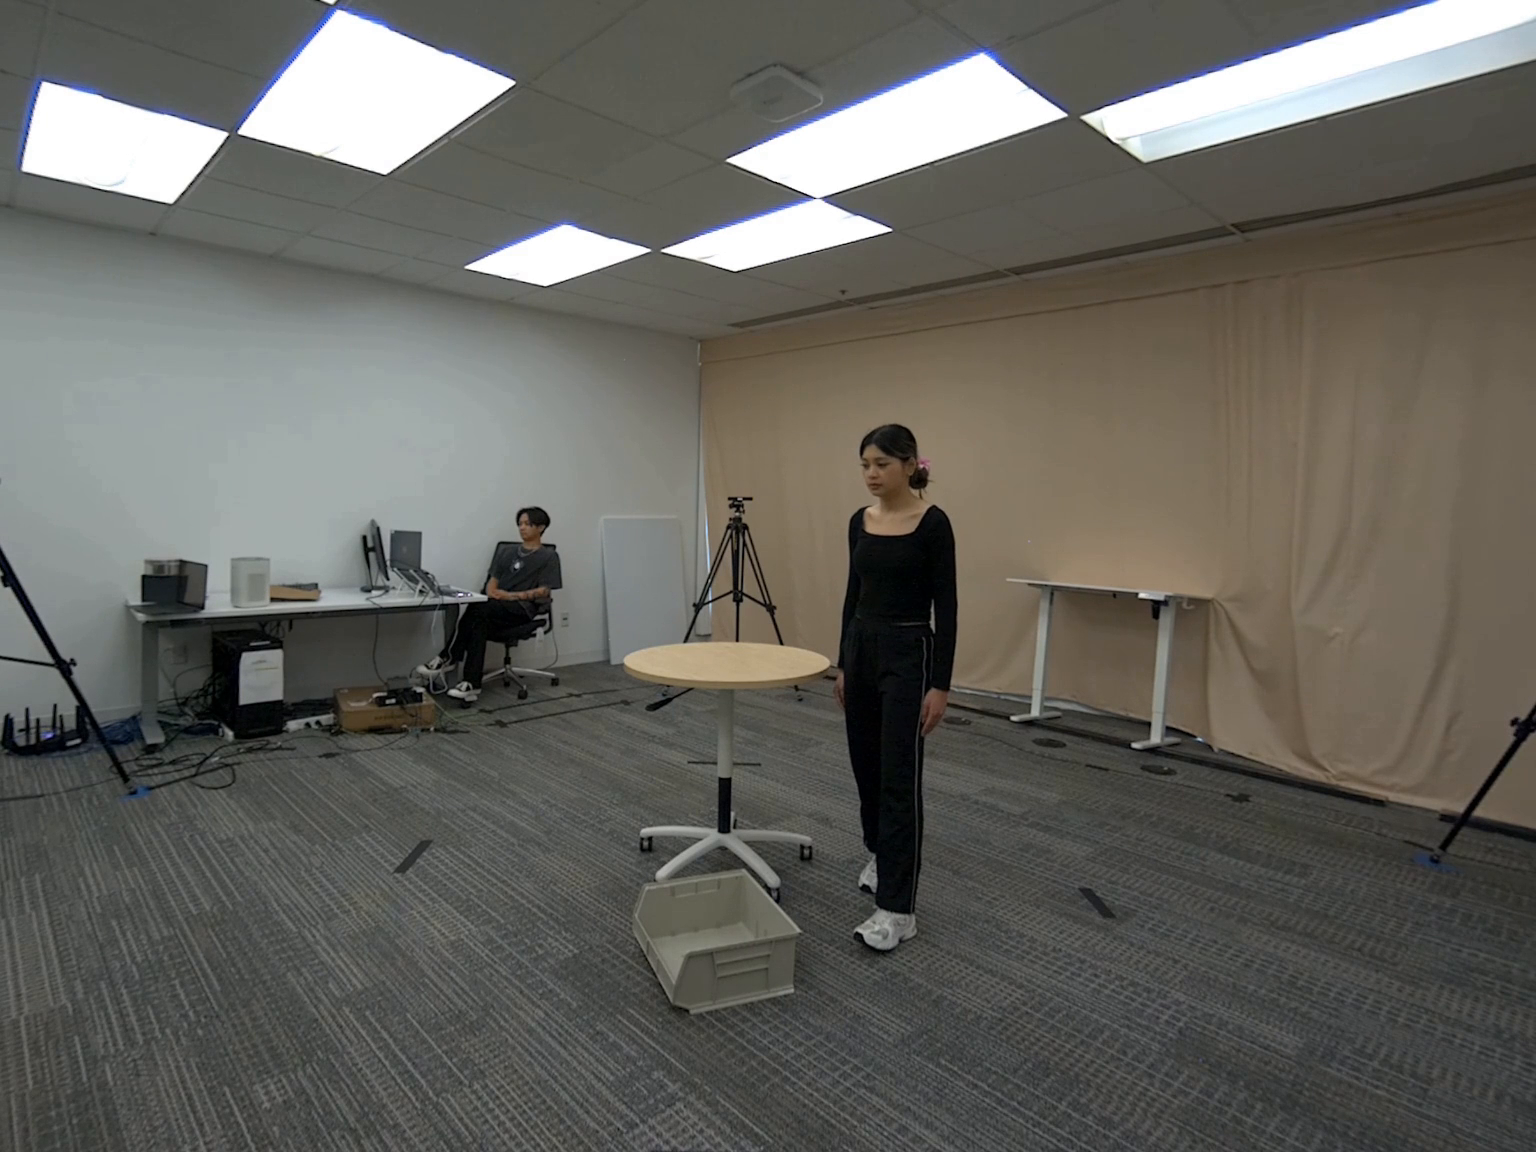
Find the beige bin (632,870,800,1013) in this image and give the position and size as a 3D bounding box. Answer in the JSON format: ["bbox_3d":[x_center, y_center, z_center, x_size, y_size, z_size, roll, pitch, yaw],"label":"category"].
[{"bbox_3d":[-0.171,1.074,2.495,0.371,0.188,0.430,0,4,-23],"label":"beige bin"}]
